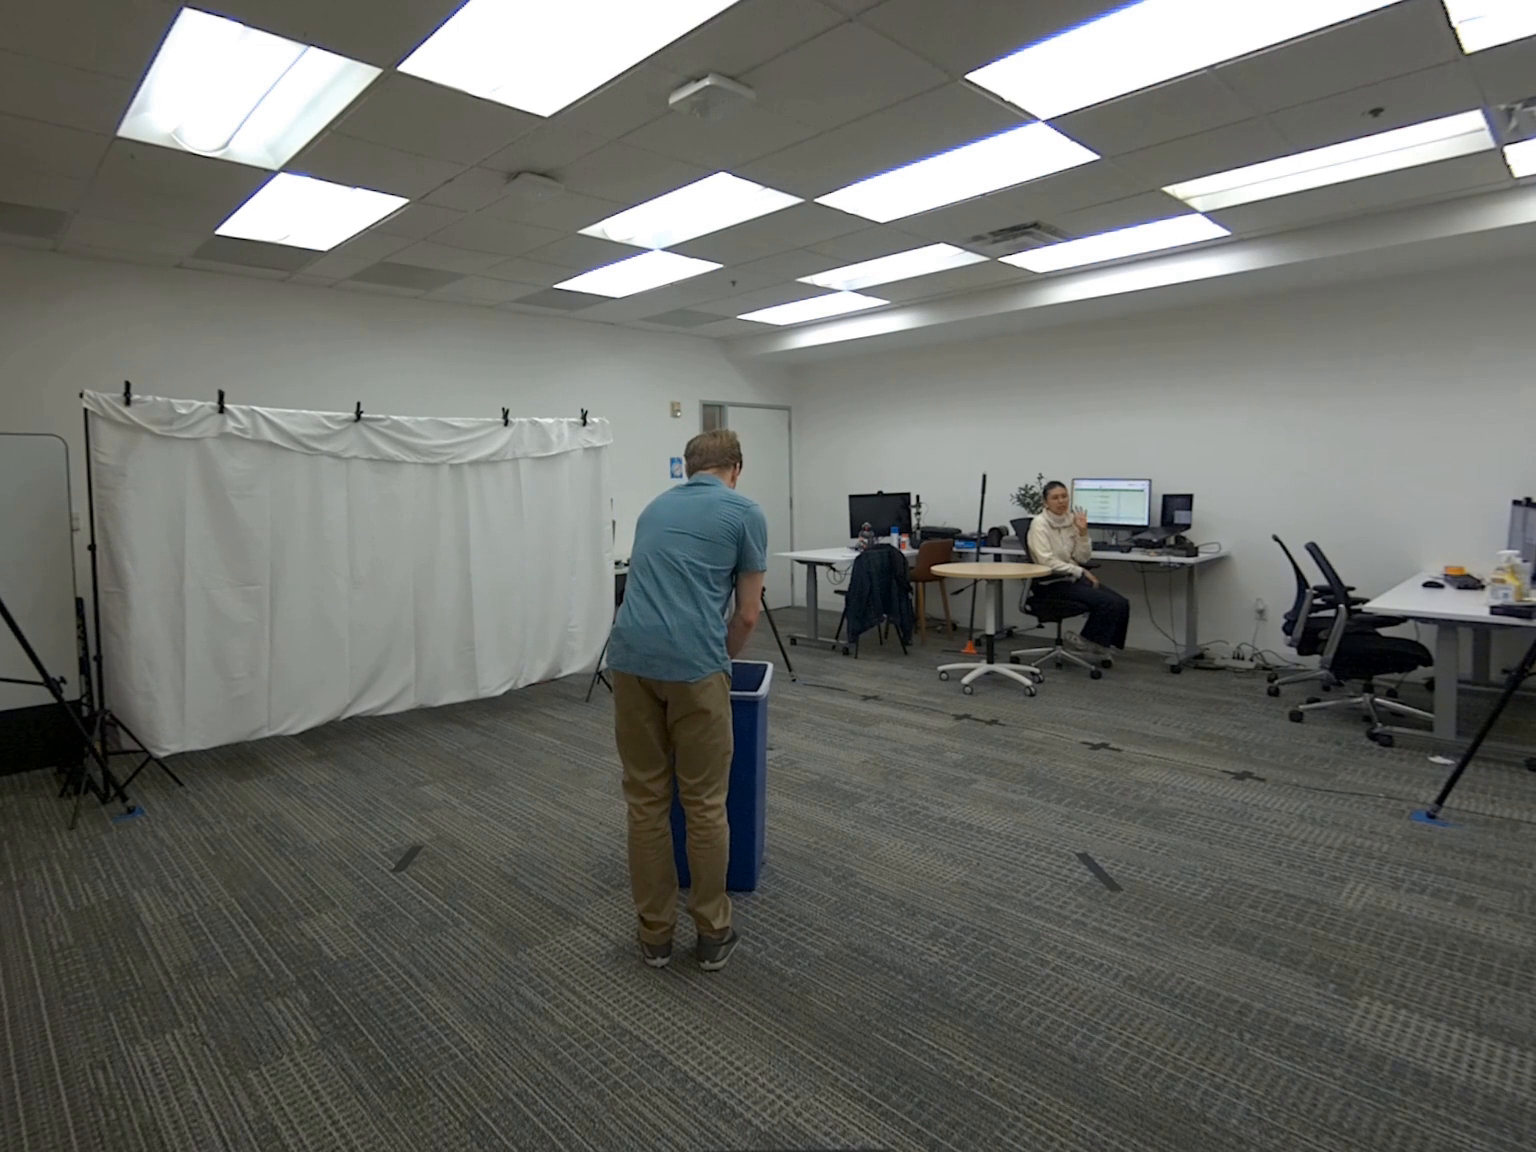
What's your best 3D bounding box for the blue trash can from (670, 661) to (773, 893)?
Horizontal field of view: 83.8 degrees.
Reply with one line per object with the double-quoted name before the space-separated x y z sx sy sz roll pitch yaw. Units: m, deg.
"blue trash can" -0.171 0.697 3.002 0.381 0.709 0.374 1 7 6
